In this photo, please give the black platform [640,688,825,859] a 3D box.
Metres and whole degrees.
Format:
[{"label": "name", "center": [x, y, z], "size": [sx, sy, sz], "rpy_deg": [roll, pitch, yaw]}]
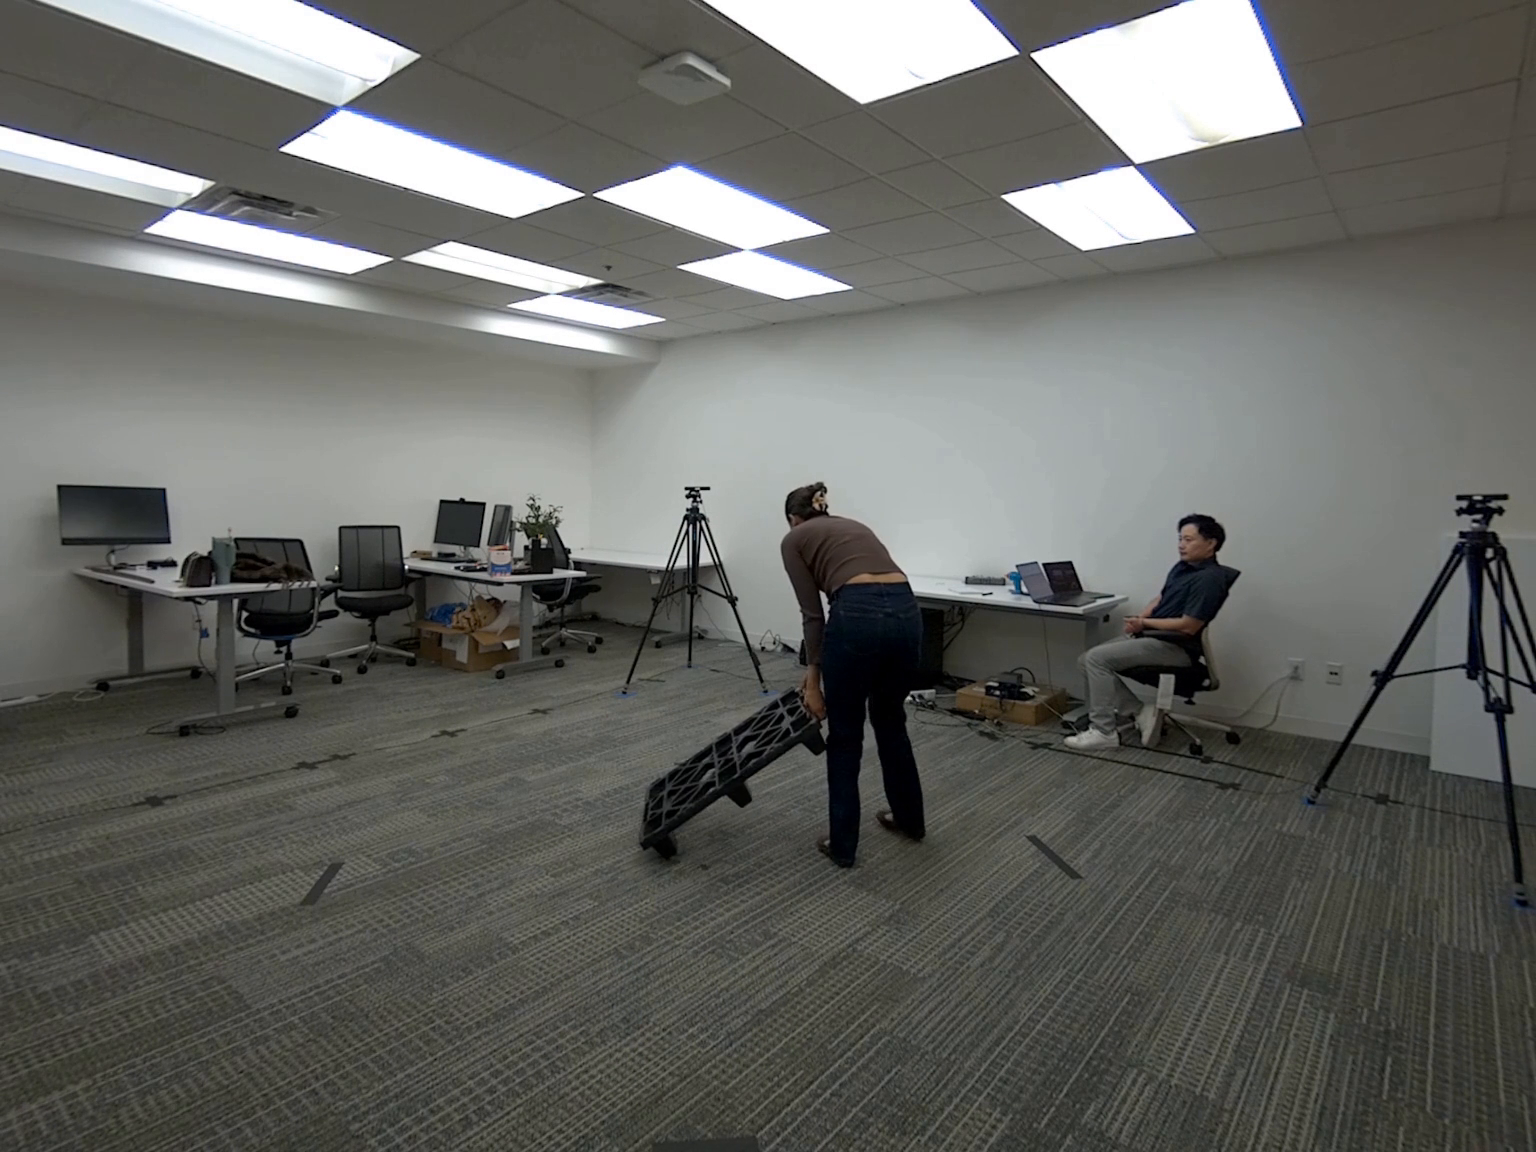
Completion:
[{"label": "black platform", "center": [-0.142, 0.771, 3.398], "size": [0.805, 0.142, 0.611], "rpy_deg": [-35, 9, -1]}]
